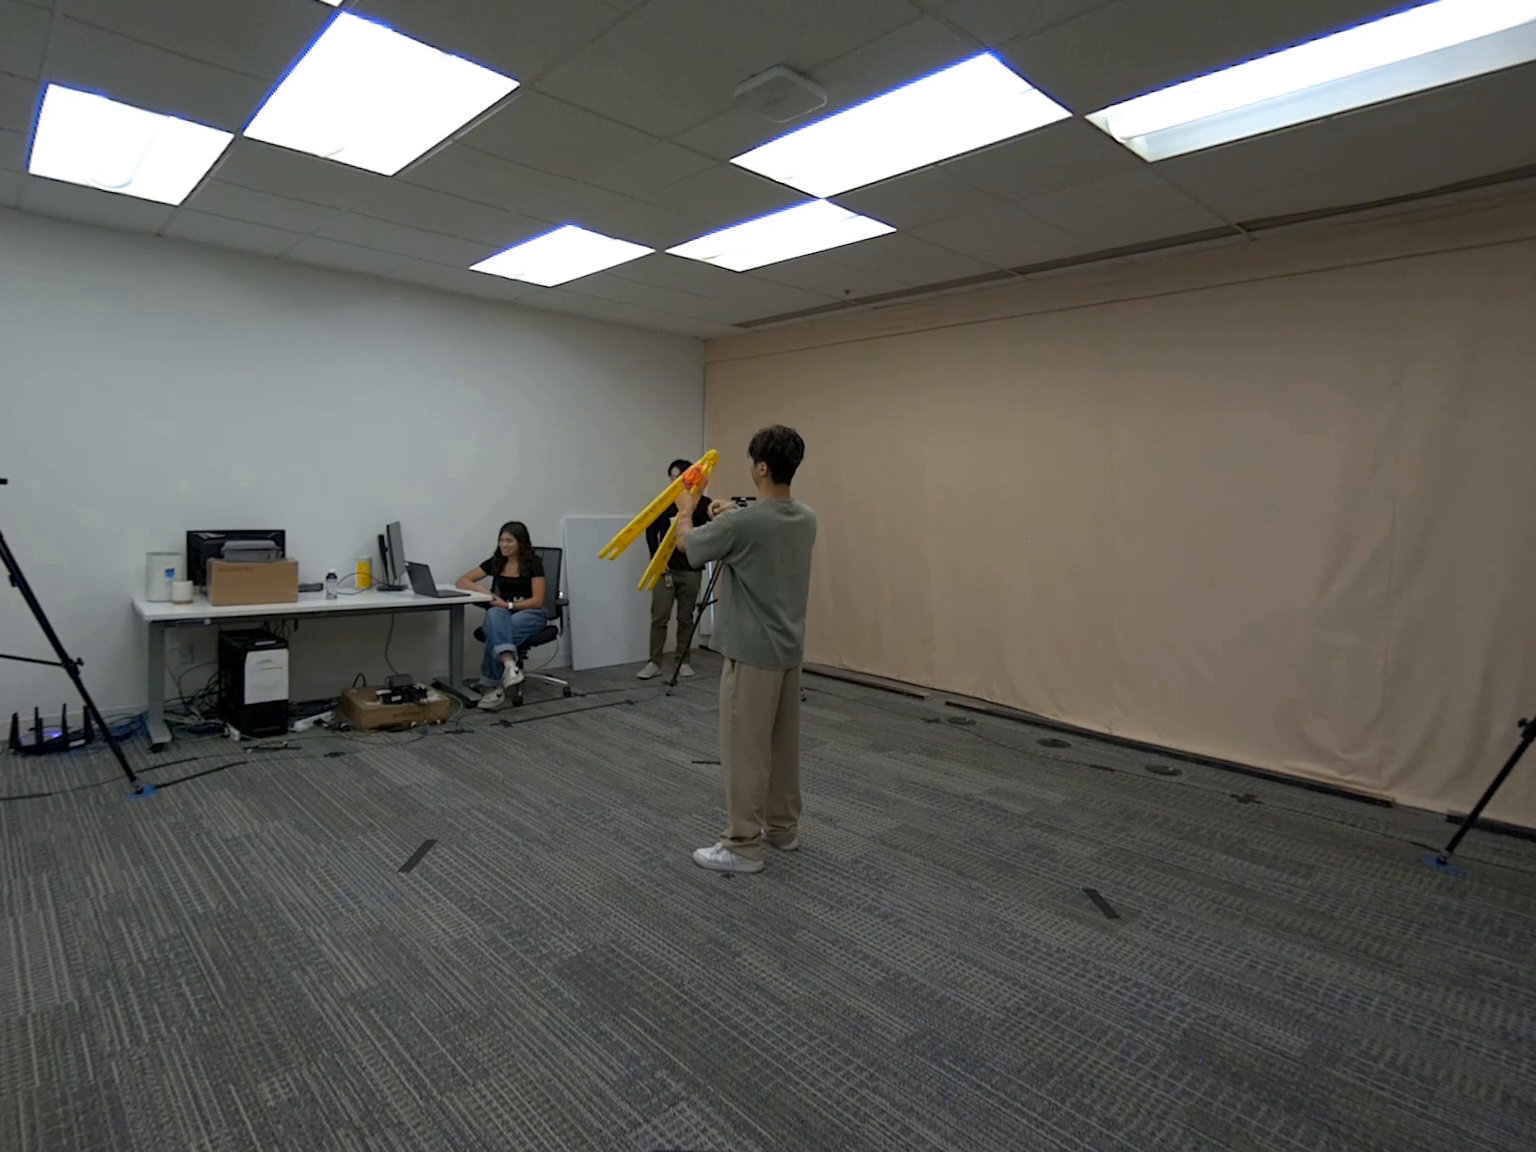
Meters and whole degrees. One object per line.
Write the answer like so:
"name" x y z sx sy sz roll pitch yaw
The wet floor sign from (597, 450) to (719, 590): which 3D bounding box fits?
"wet floor sign" -0.418 -0.261 3.592 0.291 0.646 0.281 37 -1 2
